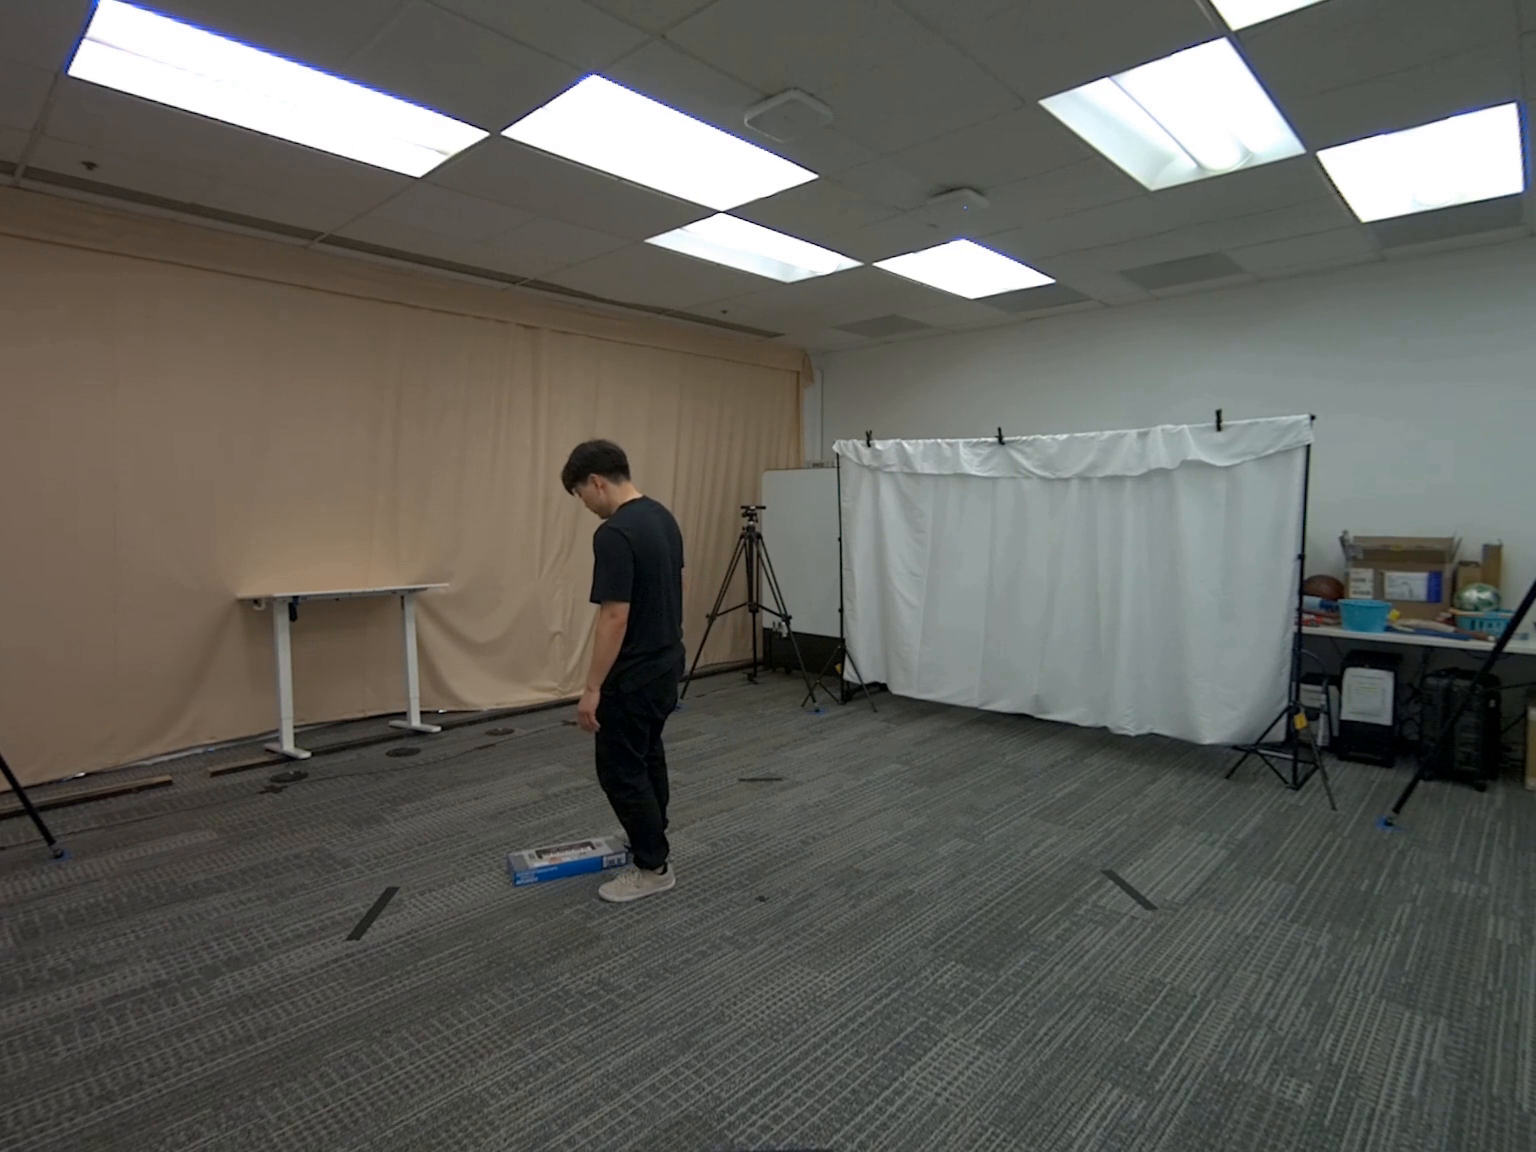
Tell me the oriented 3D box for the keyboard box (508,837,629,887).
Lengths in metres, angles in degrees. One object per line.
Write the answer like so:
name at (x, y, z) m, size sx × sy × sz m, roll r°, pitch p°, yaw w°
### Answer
keyboard box at (-0.774, 1.100, 3.256) m, size 0.426 × 0.059 × 0.180 m, roll -2°, pitch 5°, yaw -25°
